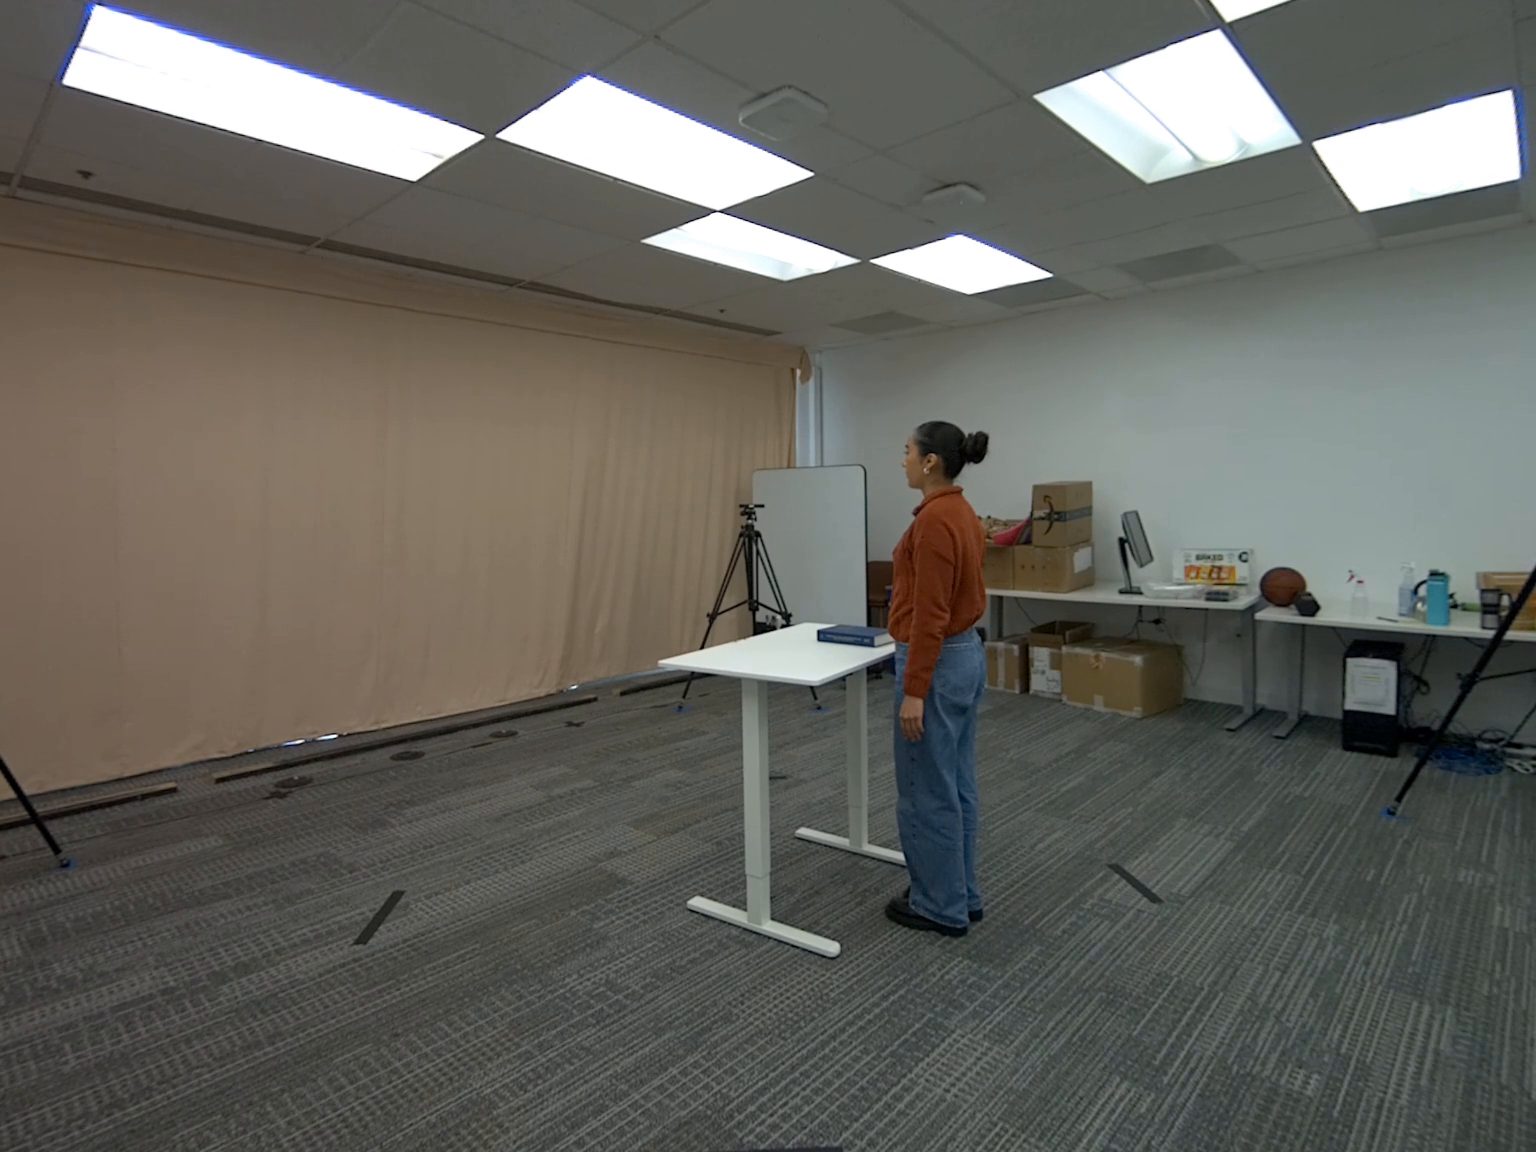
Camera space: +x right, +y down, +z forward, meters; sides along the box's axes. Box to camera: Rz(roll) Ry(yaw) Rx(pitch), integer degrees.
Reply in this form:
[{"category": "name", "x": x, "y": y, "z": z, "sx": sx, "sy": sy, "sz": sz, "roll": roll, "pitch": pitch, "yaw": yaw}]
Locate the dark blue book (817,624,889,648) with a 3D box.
[{"category": "dark blue book", "x": 0.331, "y": 0.222, "z": 3.093, "sx": 0.253, "sy": 0.045, "sz": 0.158, "roll": 3, "pitch": 6, "yaw": 39}]
